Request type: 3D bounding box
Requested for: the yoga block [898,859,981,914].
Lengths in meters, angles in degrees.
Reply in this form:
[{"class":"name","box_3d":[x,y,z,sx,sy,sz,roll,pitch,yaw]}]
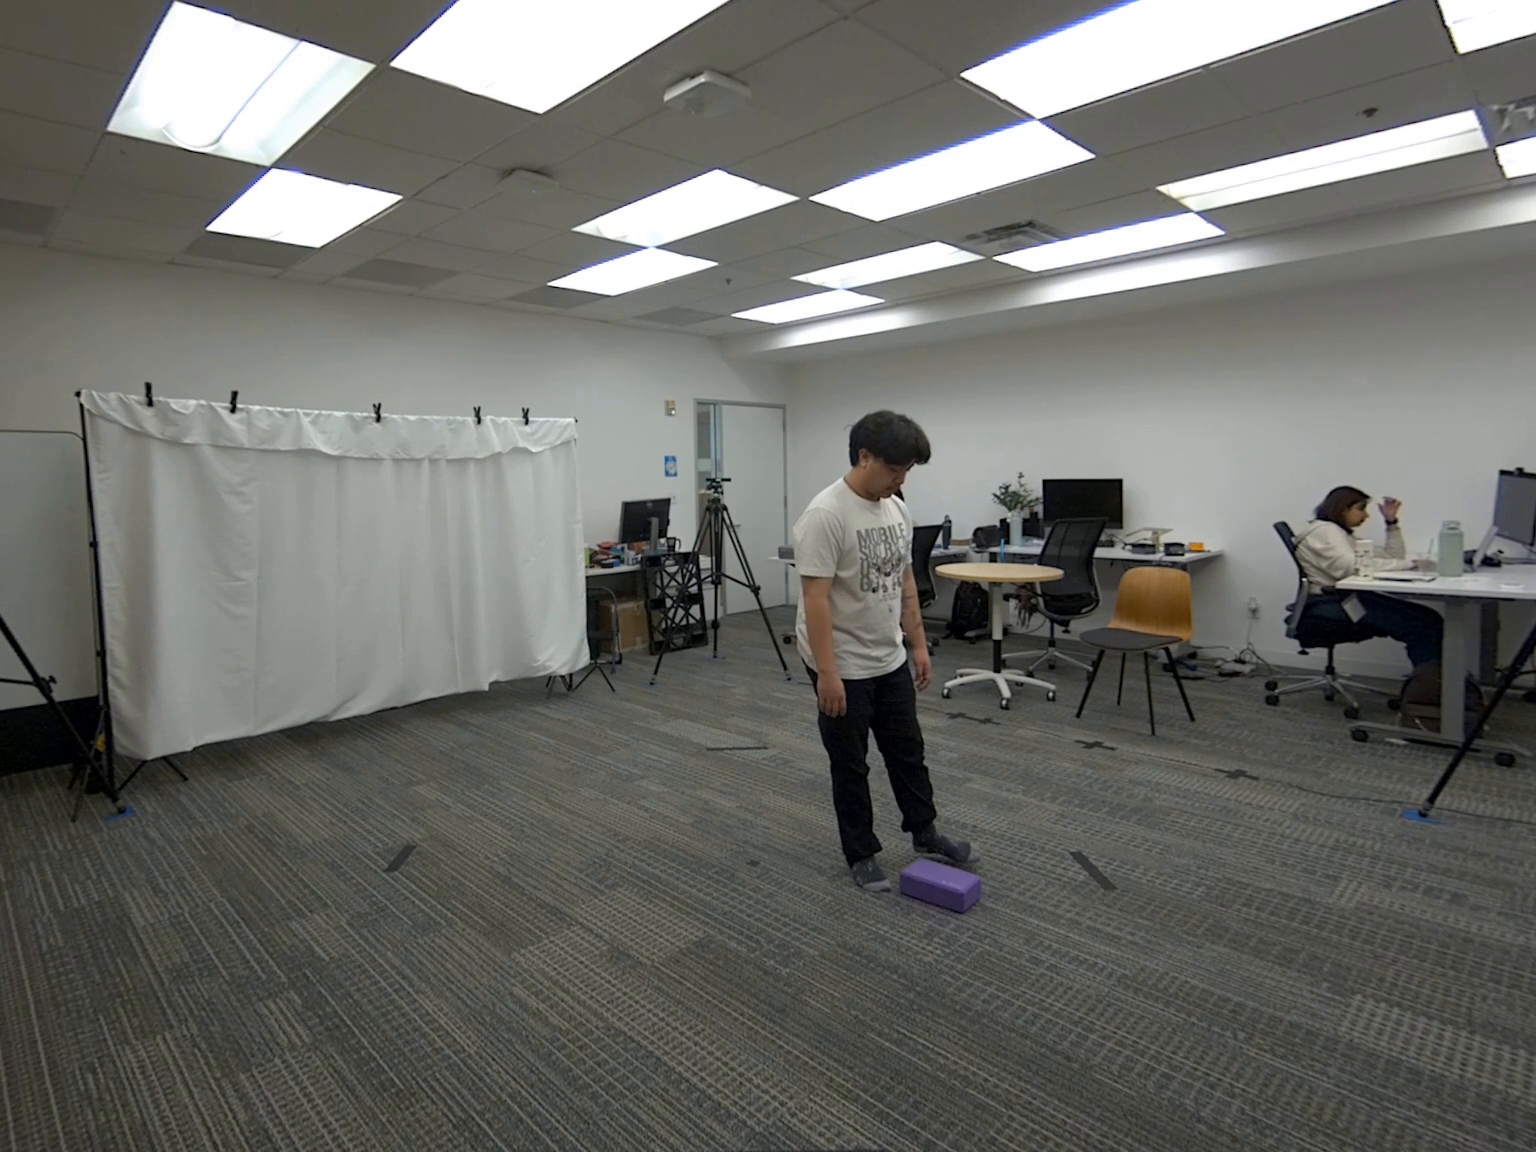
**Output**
[{"class":"yoga block","box_3d":[0.568,1.026,2.833,0.236,0.076,0.145,5,8,39]}]
